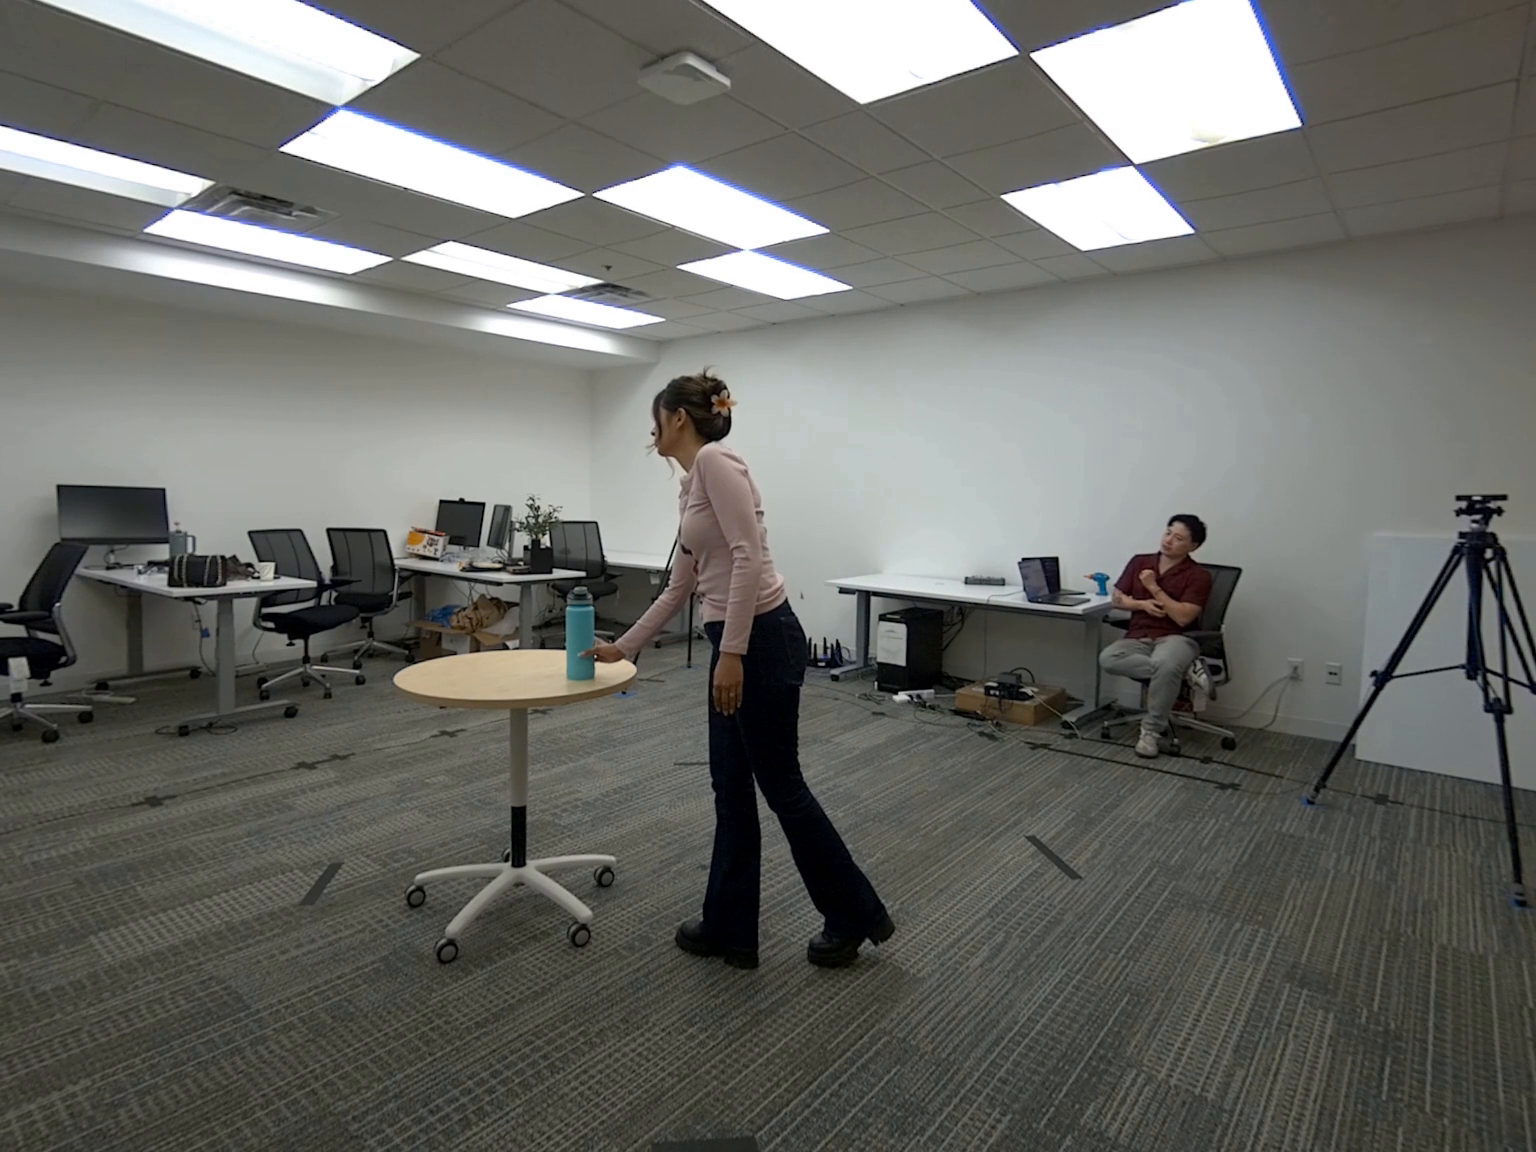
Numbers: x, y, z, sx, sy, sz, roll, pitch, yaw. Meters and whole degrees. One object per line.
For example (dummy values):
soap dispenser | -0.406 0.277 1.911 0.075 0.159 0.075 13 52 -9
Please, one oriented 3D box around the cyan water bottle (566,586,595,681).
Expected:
cyan water bottle | -0.603 0.178 2.679 0.092 0.283 0.092 1 2 -2
